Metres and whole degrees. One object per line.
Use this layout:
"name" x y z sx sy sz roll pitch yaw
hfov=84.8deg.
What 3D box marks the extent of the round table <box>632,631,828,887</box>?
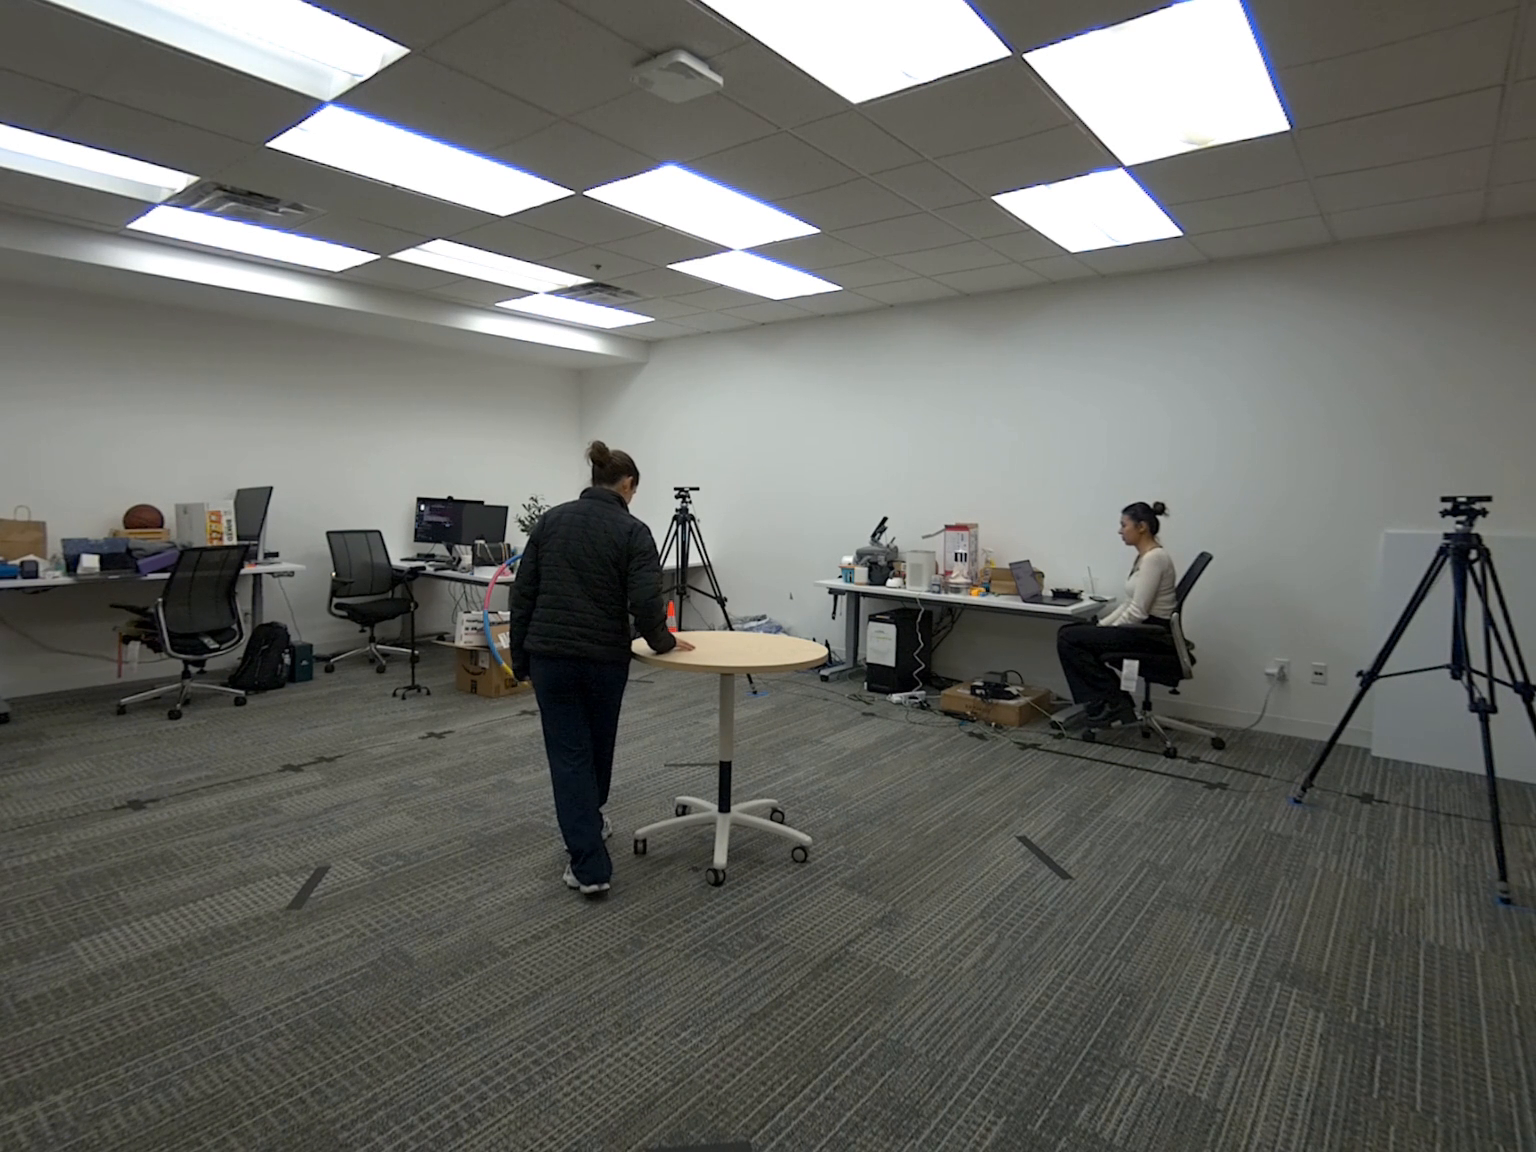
"round table" -0.136 0.657 3.289 0.784 0.784 0.789 1 4 -2
